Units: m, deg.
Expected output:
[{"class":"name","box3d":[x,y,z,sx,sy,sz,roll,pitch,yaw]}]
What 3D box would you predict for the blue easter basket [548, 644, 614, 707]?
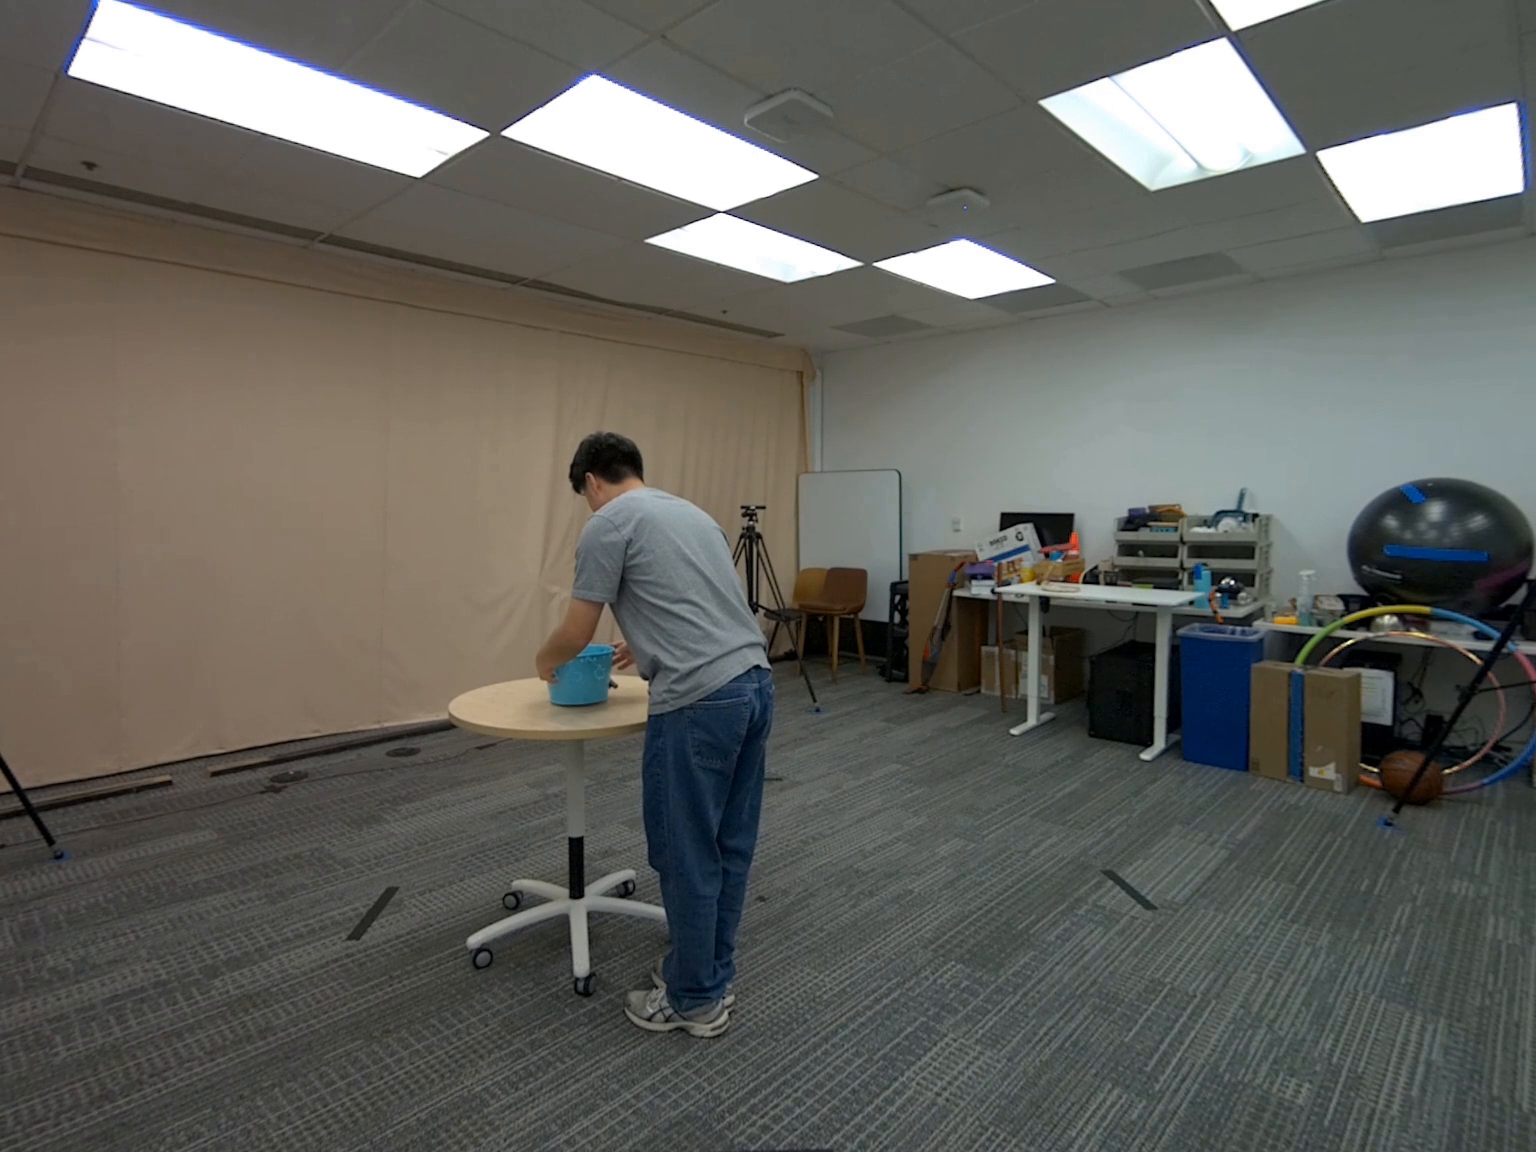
[{"class":"blue easter basket","box3d":[-0.597,0.315,2.635,0.243,0.155,0.244,-2,4,-2]}]
